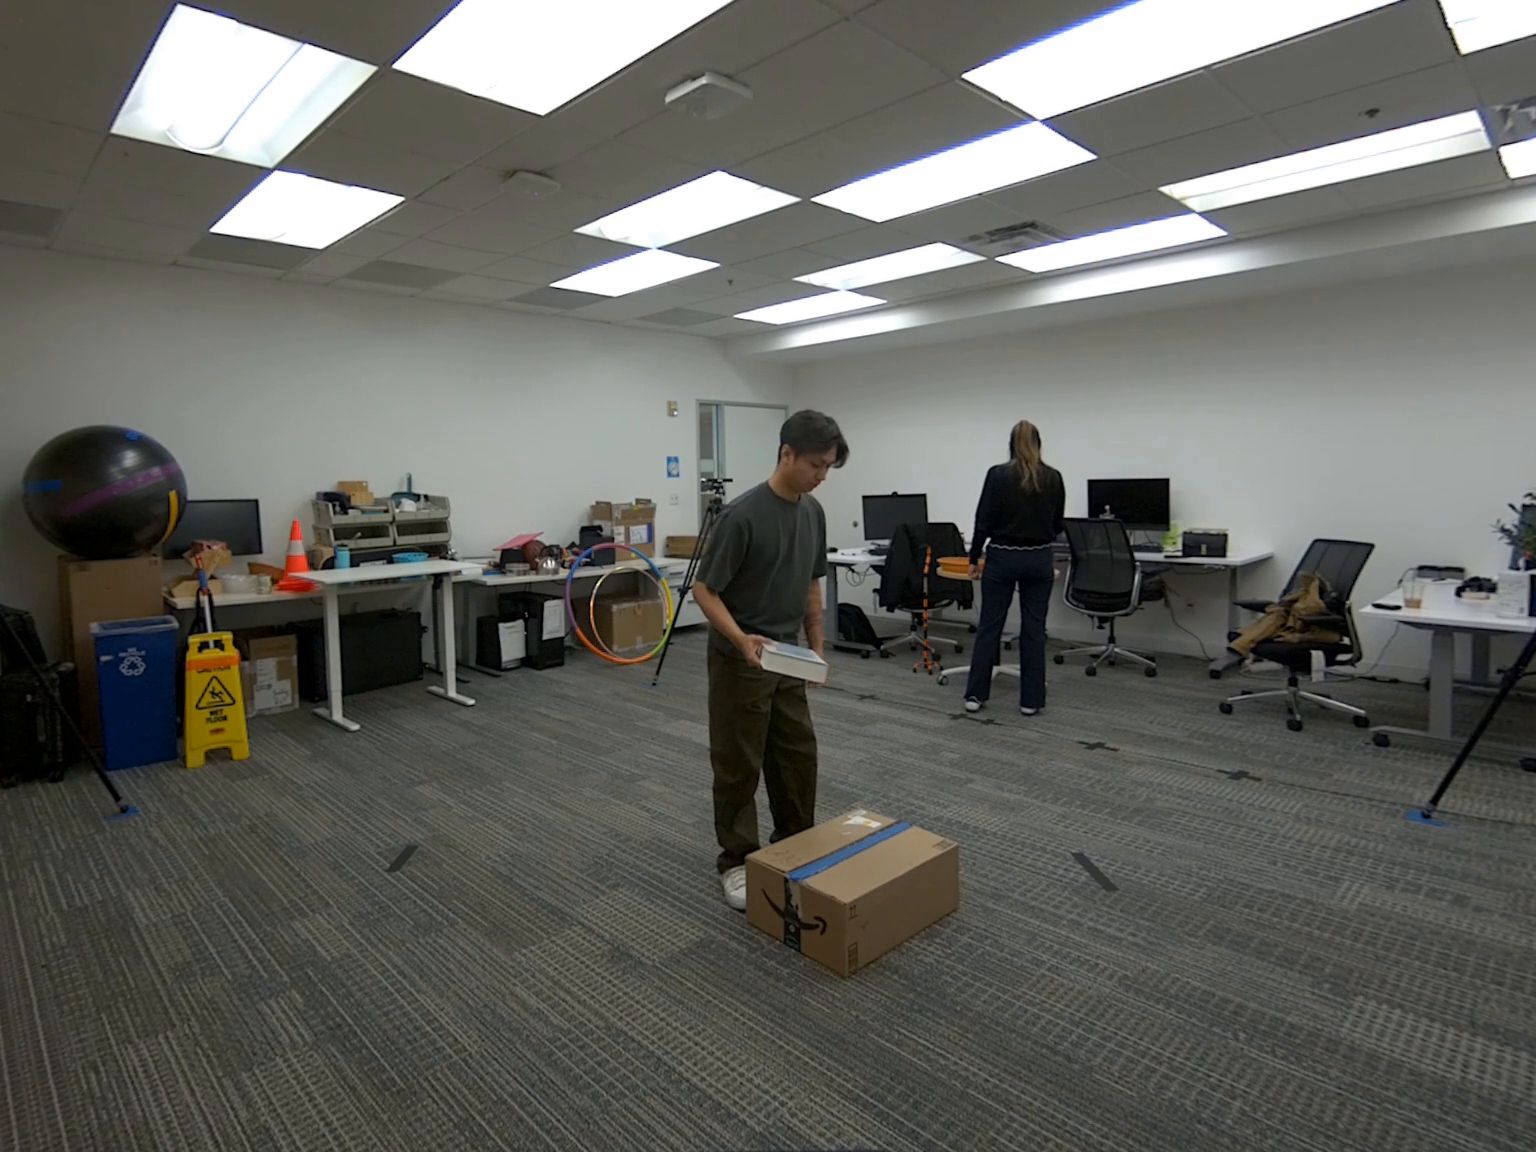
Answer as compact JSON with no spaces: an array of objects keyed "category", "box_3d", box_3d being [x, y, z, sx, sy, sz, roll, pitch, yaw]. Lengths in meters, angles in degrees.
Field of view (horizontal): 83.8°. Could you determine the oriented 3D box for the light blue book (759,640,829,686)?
[{"category":"light blue book","box_3d":[0.094,0.261,2.610,0.192,0.059,0.260,11,2,2]}]
